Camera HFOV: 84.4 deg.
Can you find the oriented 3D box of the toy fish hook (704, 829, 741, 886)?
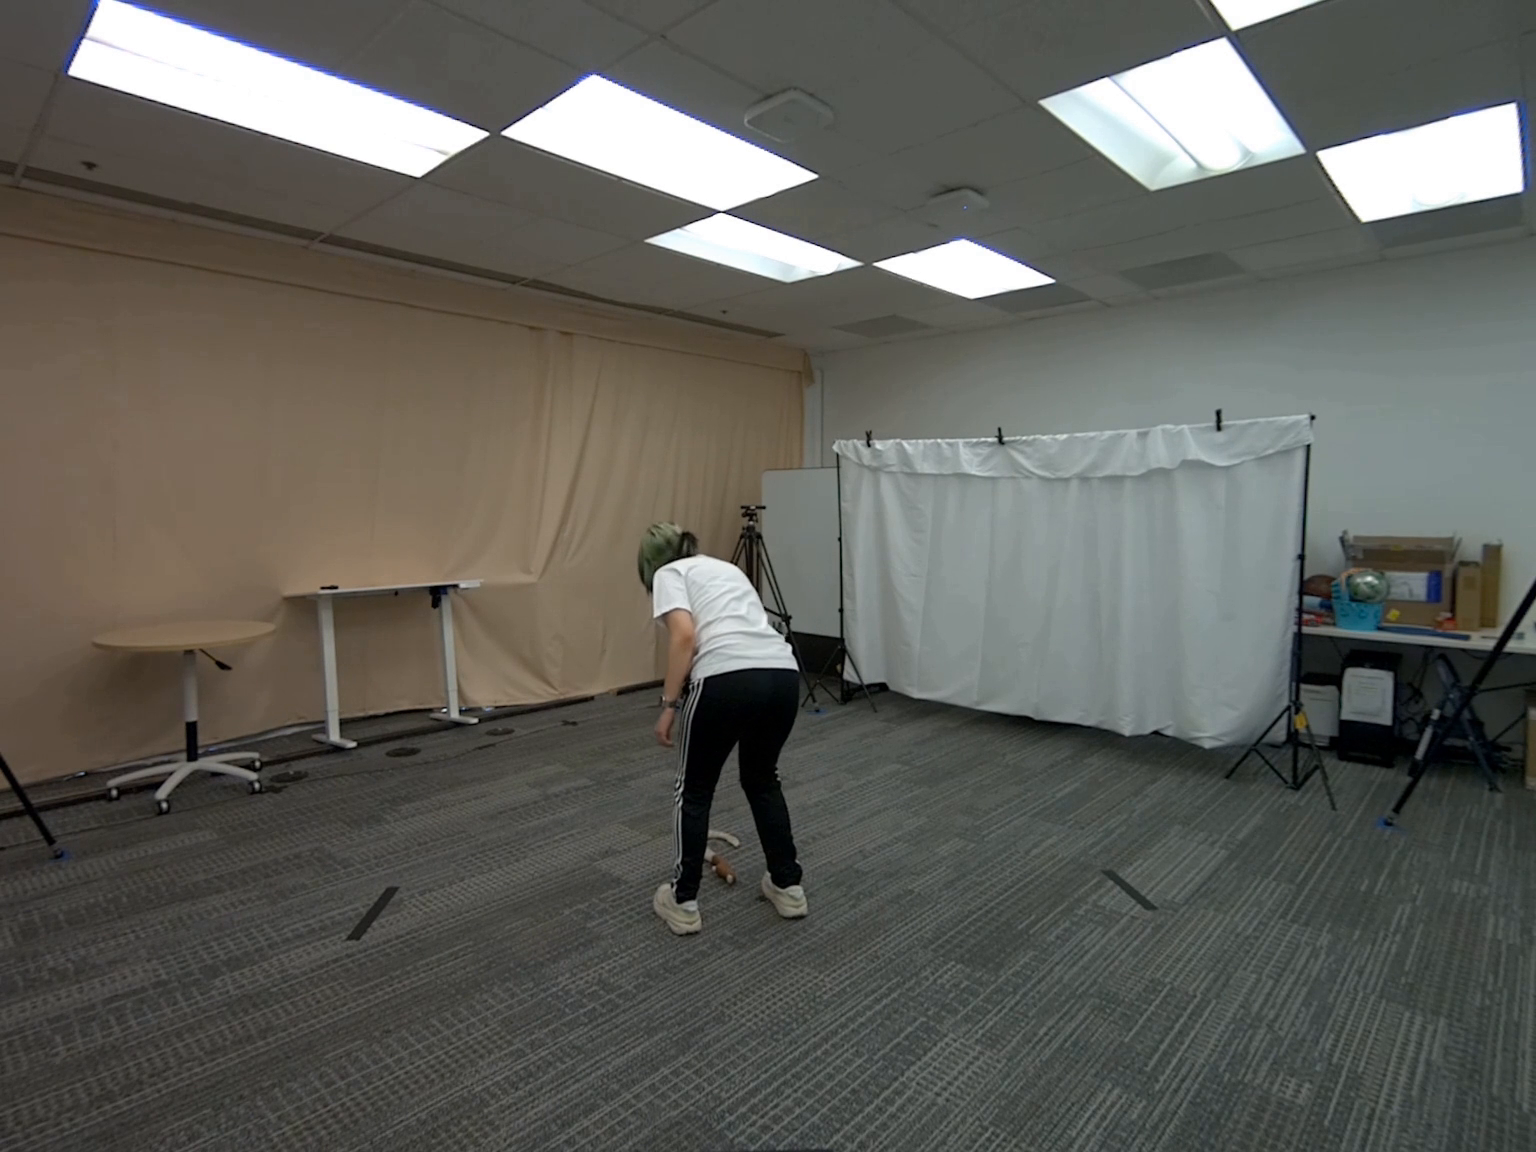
[{"bbox_3d":[-0.179,1.094,3.327,0.220,0.048,0.519,-3,6,-23],"label":"toy fish hook"}]
